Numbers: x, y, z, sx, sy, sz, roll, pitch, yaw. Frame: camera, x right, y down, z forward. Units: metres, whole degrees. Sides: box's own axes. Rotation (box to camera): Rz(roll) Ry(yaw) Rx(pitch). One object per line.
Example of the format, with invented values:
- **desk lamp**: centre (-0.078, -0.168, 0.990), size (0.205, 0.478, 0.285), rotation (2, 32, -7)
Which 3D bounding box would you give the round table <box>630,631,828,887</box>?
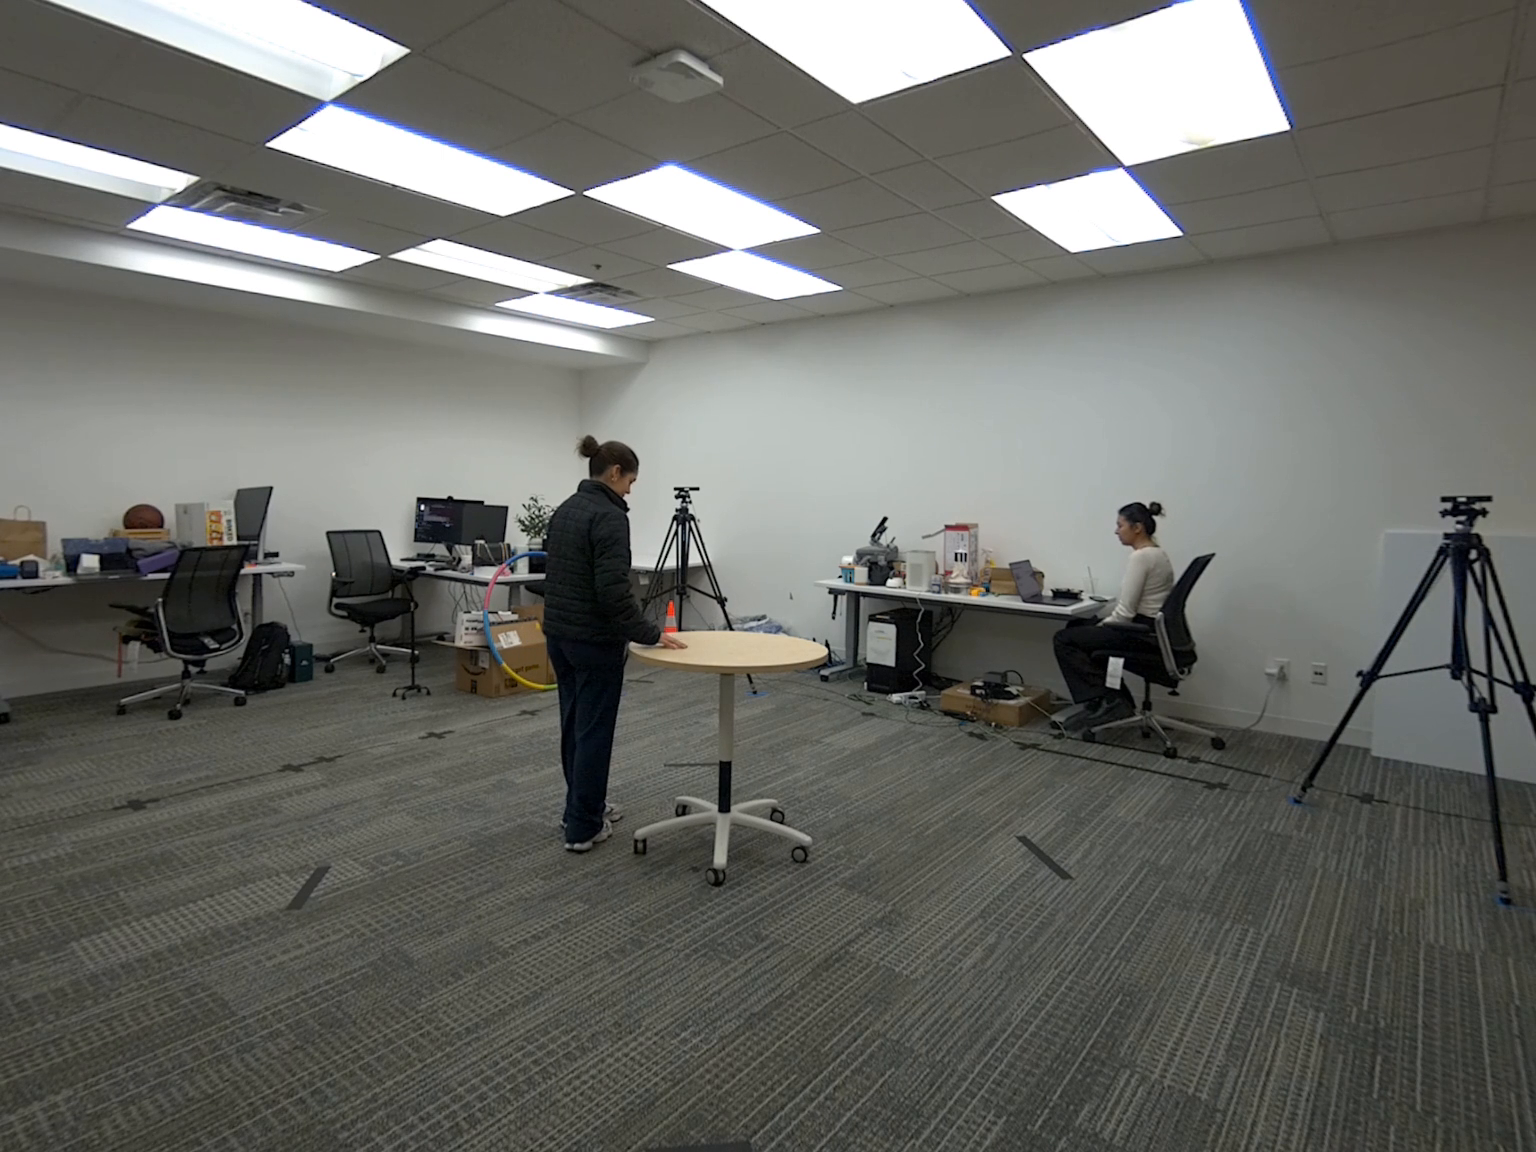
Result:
- **round table**: centre (-0.133, 0.656, 3.290), size (0.784, 0.784, 0.789), rotation (1, 4, -2)
